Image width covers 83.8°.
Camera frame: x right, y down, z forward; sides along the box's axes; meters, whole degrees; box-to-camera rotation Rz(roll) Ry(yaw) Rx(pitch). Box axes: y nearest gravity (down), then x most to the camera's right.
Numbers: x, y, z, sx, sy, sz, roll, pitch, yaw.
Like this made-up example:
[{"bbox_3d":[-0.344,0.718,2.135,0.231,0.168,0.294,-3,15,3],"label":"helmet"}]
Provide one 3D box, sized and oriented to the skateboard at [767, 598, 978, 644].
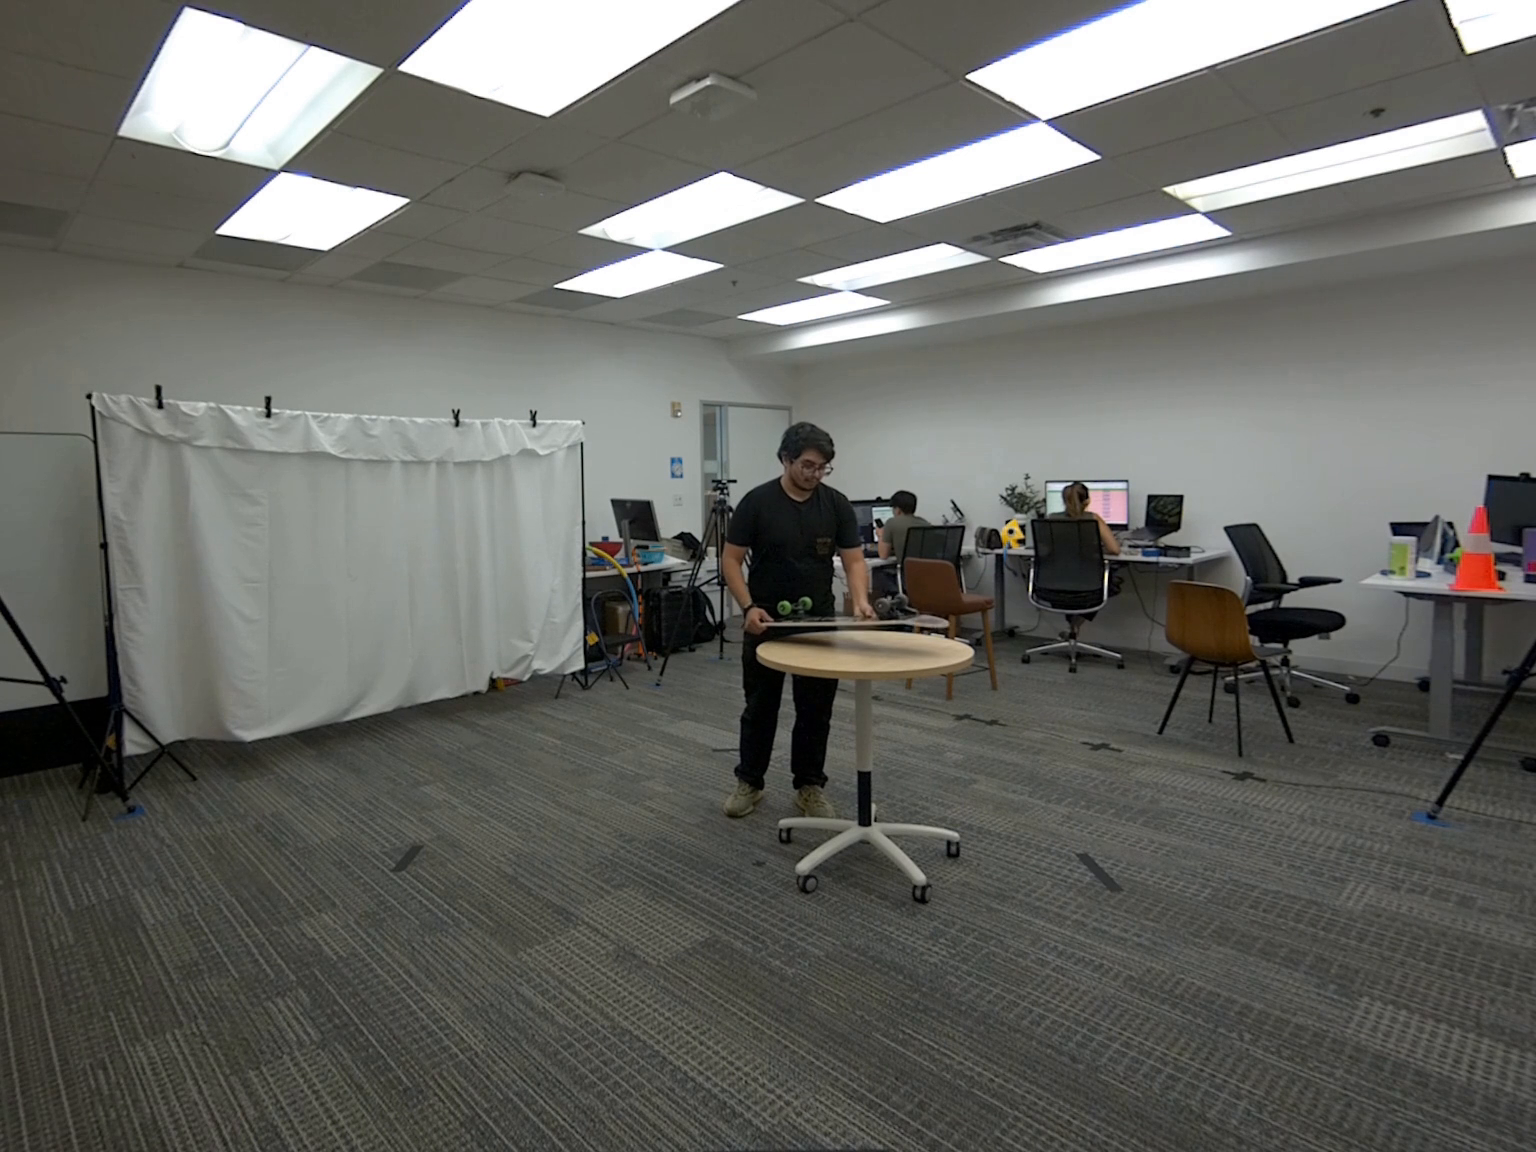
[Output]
[{"bbox_3d":[0.342,0.160,3.124,0.807,0.110,0.189,-2,8,41],"label":"skateboard"}]
